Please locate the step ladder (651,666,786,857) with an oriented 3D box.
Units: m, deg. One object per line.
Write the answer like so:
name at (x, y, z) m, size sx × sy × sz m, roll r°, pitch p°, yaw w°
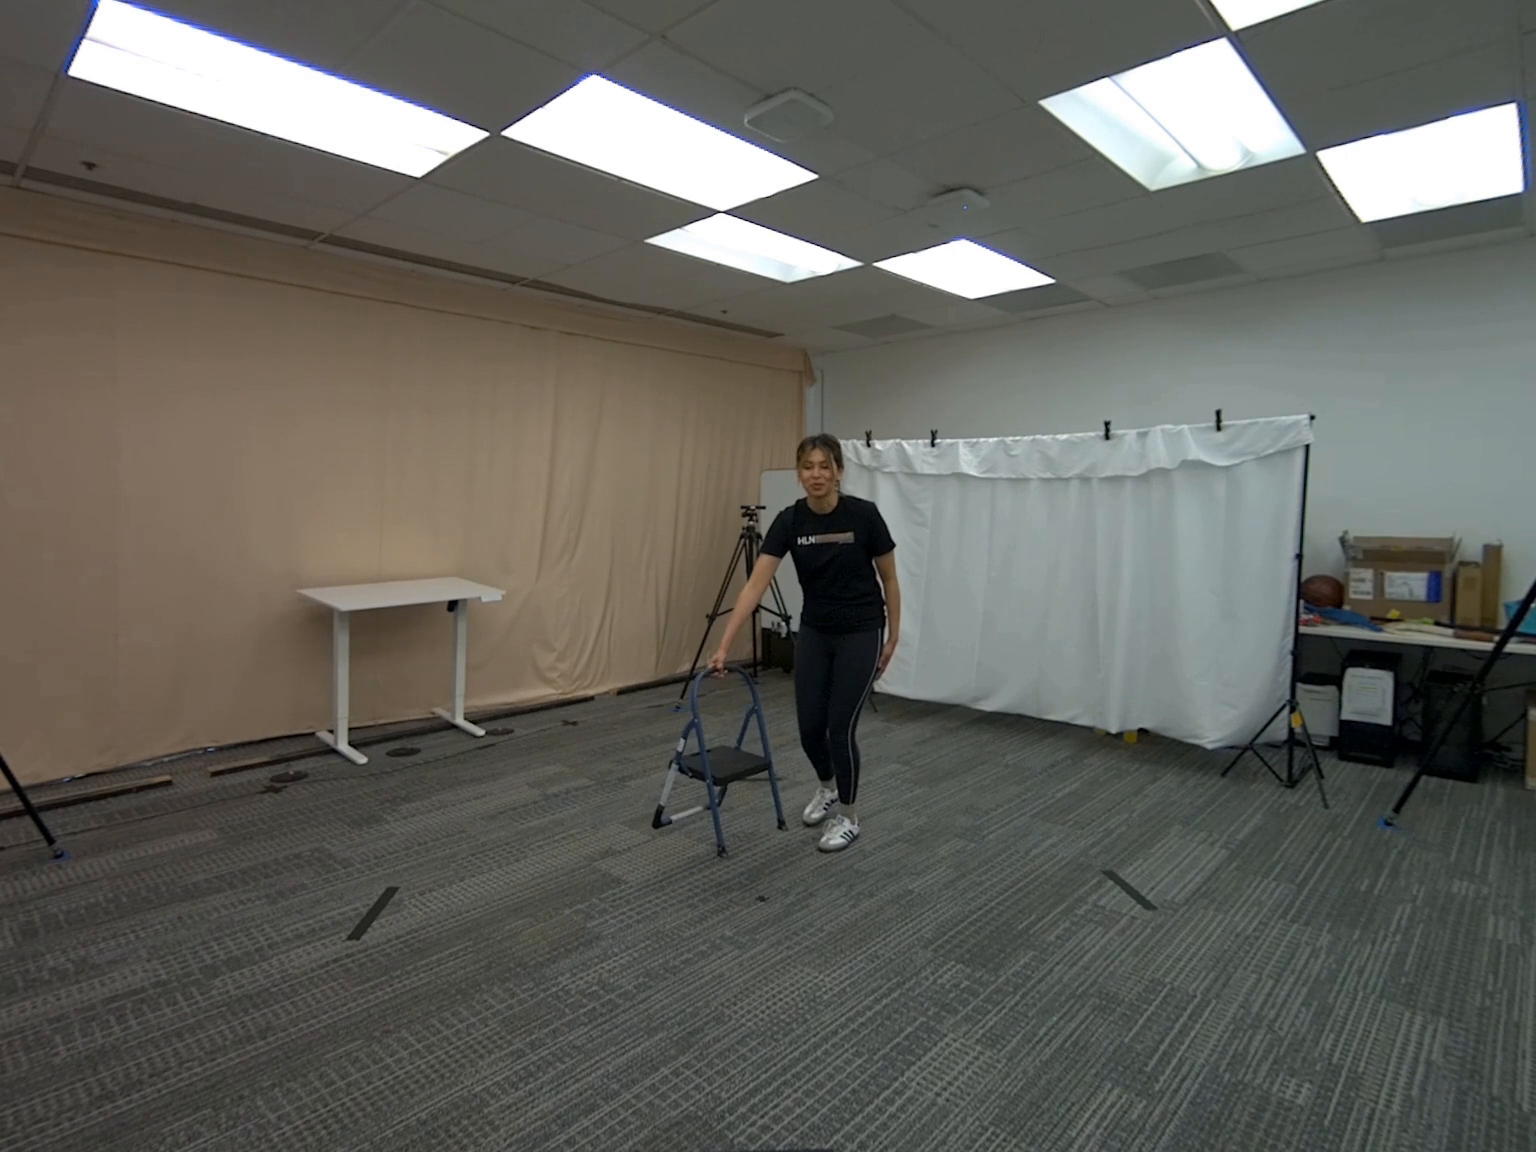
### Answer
step ladder at (-0.148, 0.662, 3.164) m, size 0.361 × 0.605 × 0.417 m, roll 10°, pitch 4°, yaw 34°
